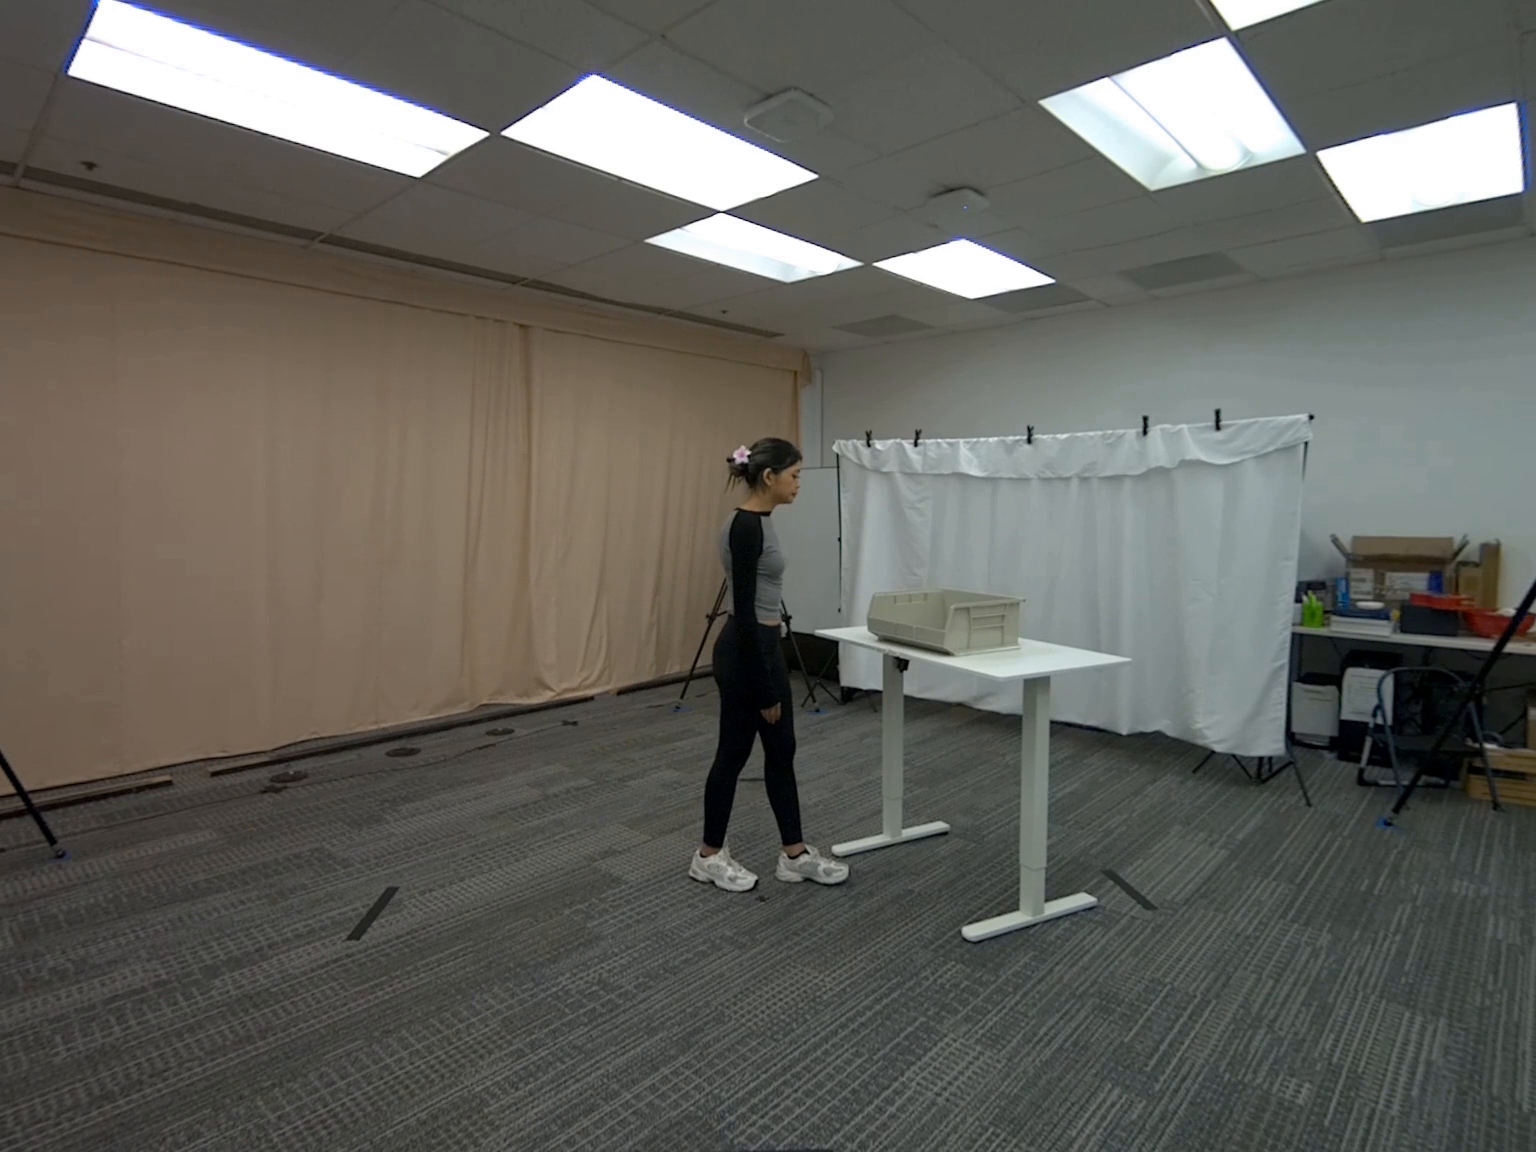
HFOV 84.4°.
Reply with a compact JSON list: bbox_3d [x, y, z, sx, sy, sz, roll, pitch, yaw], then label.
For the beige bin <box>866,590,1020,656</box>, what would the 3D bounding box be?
[{"bbox_3d":[0.648,0.164,3.073,0.367,0.189,0.435,-2,4,-31],"label":"beige bin"}]
